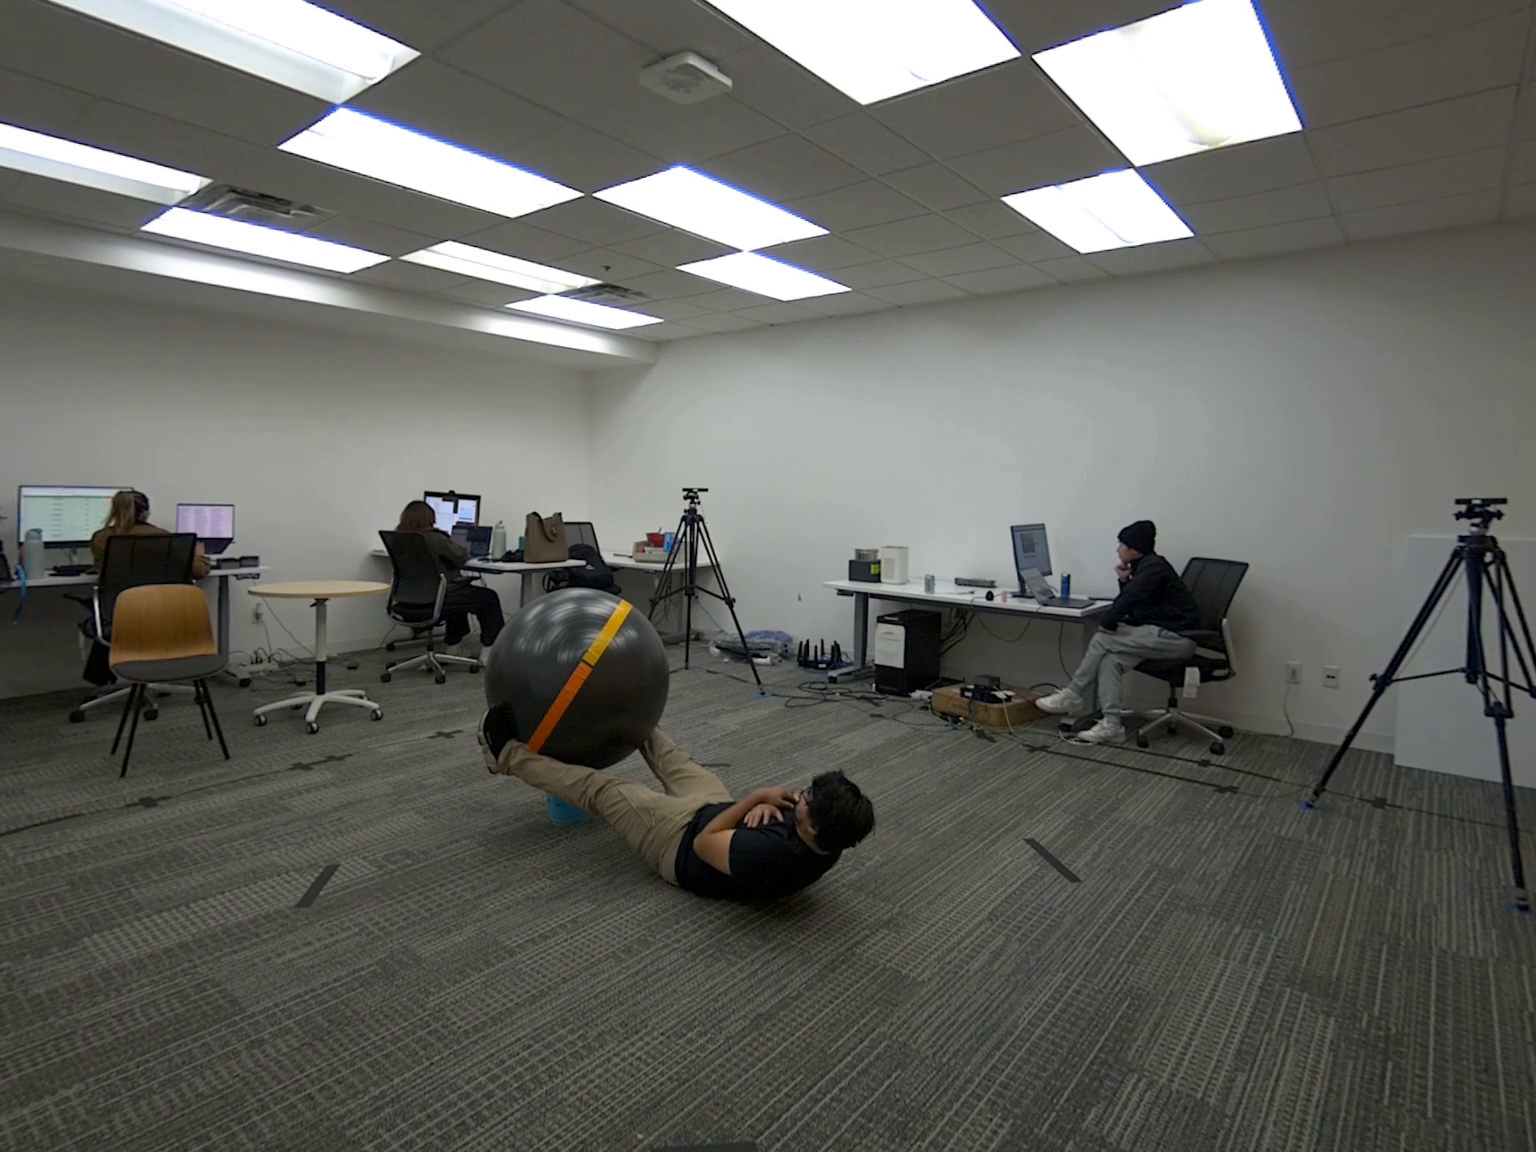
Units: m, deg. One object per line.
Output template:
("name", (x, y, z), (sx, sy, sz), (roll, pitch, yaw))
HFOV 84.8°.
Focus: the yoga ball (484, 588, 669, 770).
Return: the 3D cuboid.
("yoga ball", (-0.801, 0.429, 3.545), (0.757, 0.755, 0.762), (1, 4, -2))
